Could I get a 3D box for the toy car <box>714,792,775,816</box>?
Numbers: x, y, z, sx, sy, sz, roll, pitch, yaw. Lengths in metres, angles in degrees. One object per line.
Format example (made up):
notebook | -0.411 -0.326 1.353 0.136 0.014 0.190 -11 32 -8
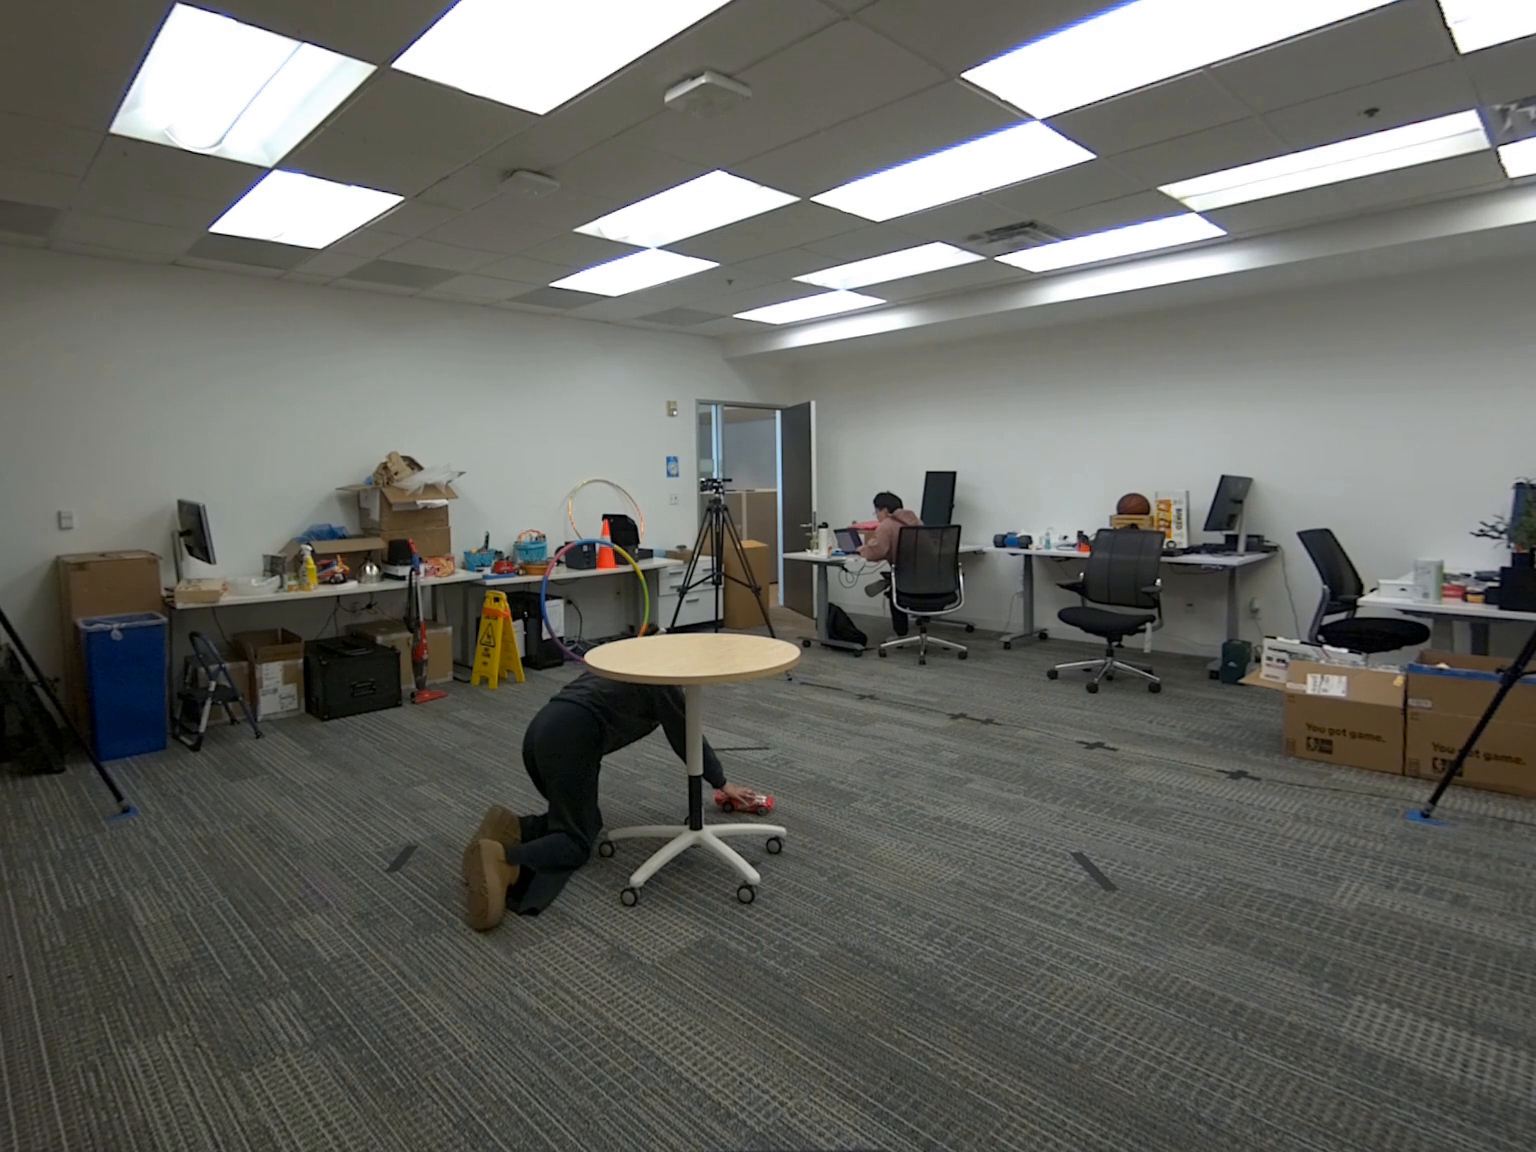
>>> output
toy car | -0.110 0.955 3.602 0.259 0.083 0.129 13 7 13
